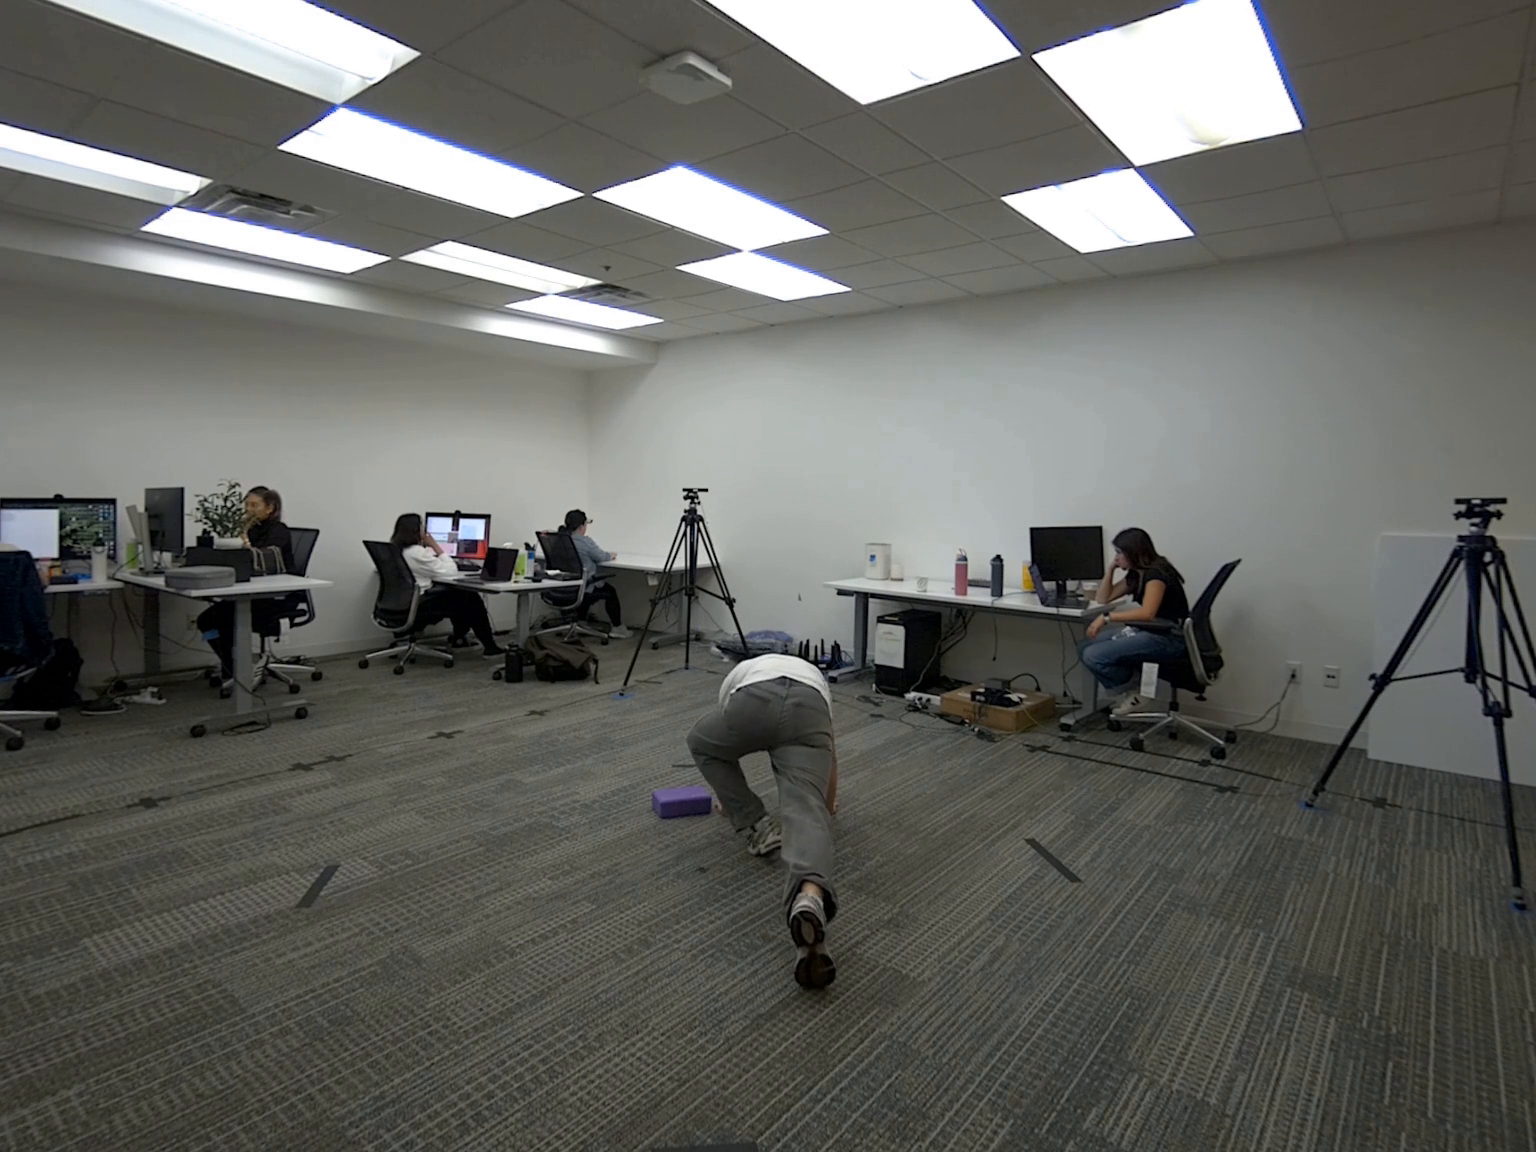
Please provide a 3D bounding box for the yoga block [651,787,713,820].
[{"bbox_3d":[-0.375,0.968,3.687,0.225,0.076,0.153,-2,6,-21],"label":"yoga block"}]
